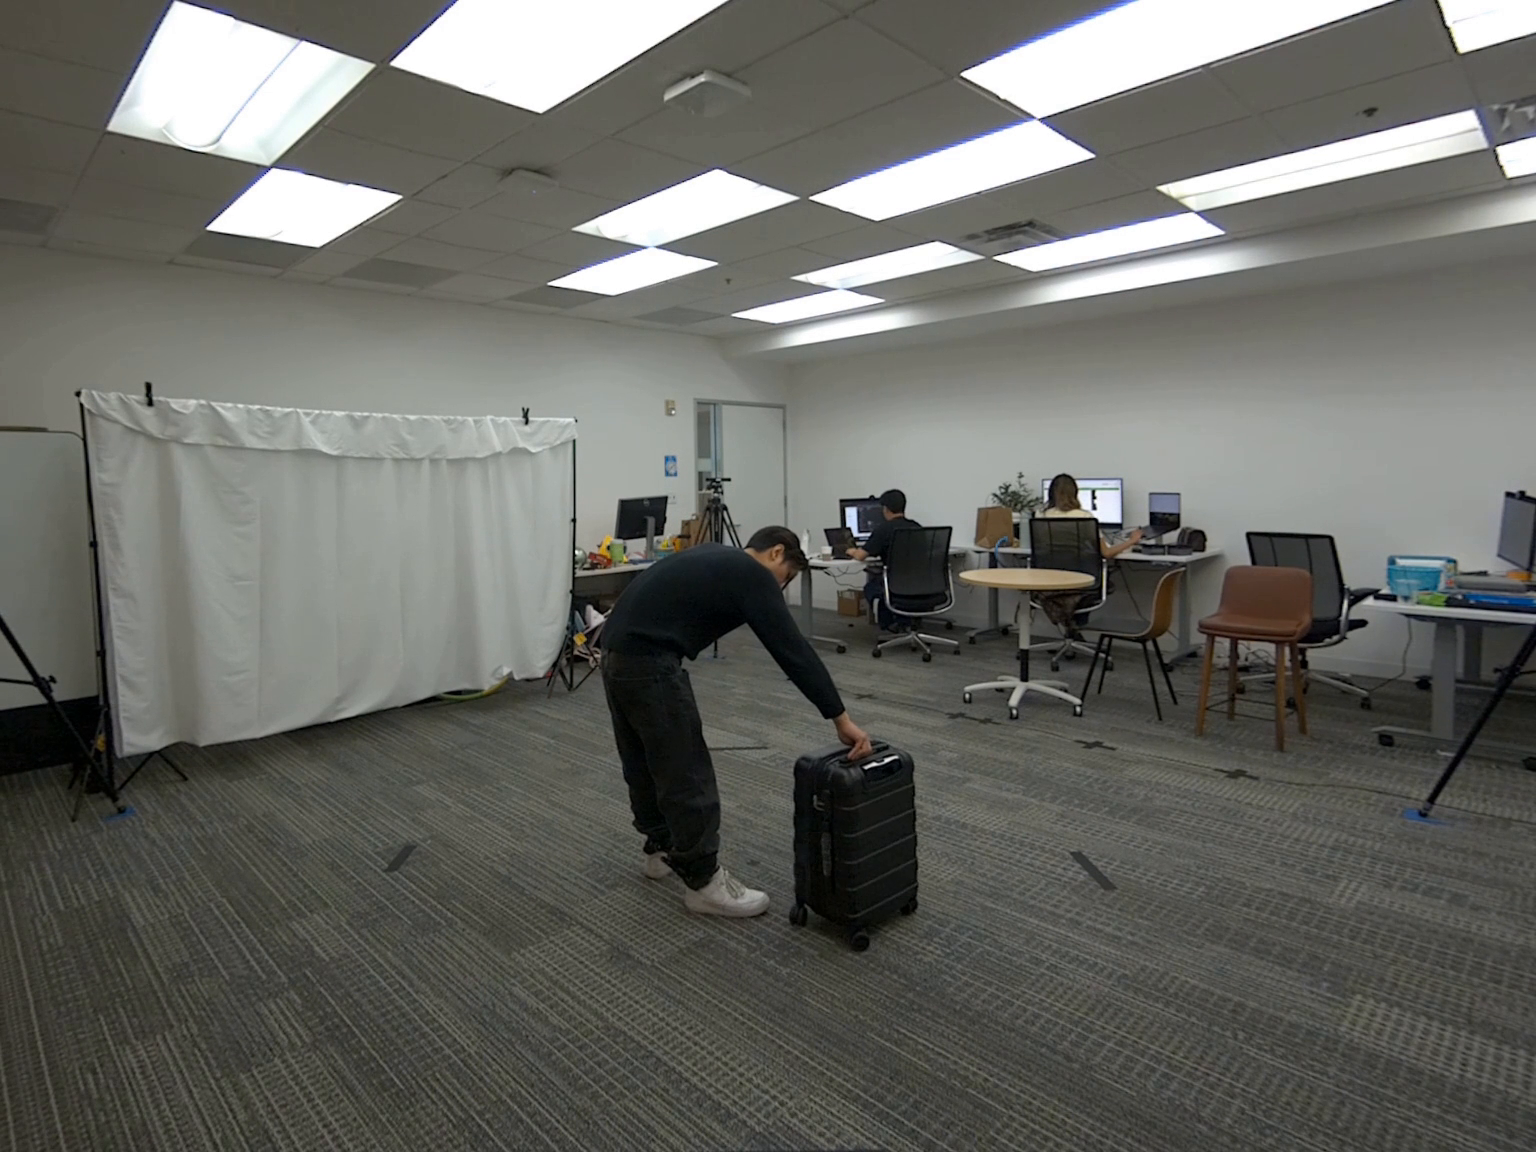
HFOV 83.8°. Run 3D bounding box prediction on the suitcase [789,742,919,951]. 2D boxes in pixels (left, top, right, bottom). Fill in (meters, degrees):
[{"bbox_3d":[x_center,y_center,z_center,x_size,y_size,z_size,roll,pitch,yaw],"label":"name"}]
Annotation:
[{"bbox_3d":[0.271,0.804,2.688,0.366,0.547,0.256,-6,6,-42],"label":"suitcase"}]
